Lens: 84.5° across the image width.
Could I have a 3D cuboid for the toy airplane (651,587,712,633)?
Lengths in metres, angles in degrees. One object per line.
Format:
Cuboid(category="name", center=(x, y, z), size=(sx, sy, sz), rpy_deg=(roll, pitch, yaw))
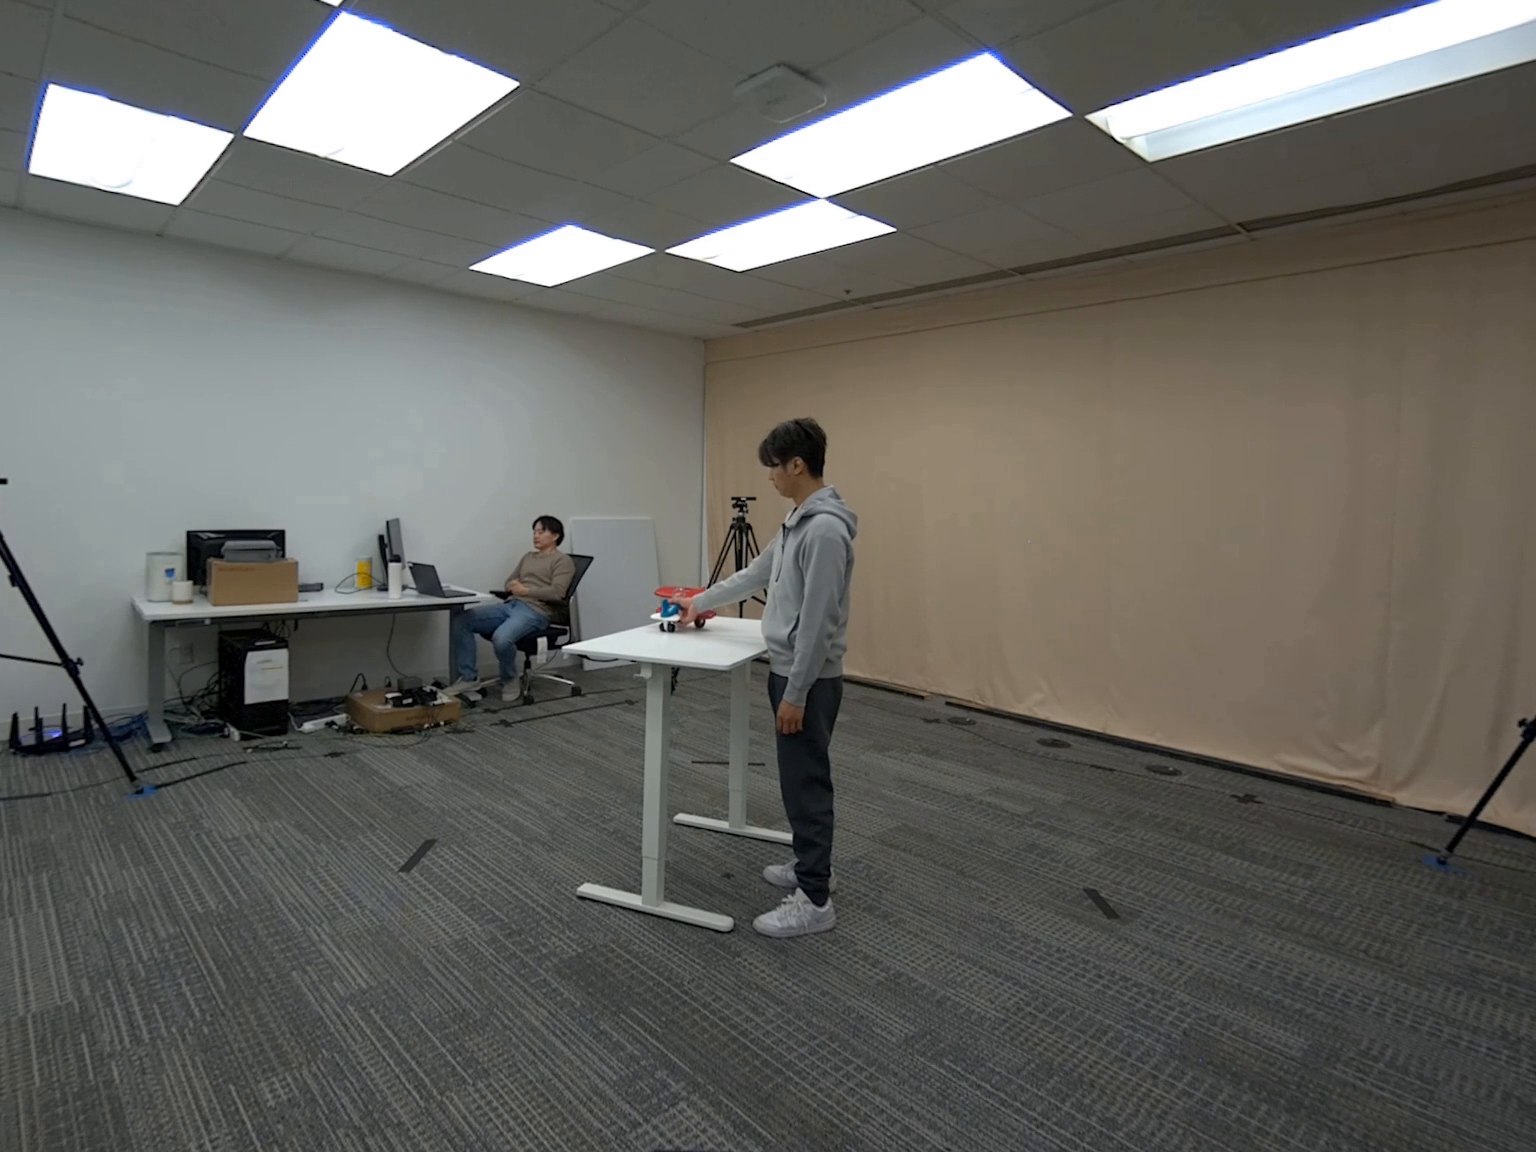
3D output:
Cuboid(category="toy airplane", center=(-0.331, 0.131, 3.255), size=(0.250, 0.156, 0.260), rpy_deg=(1, 4, -3))
